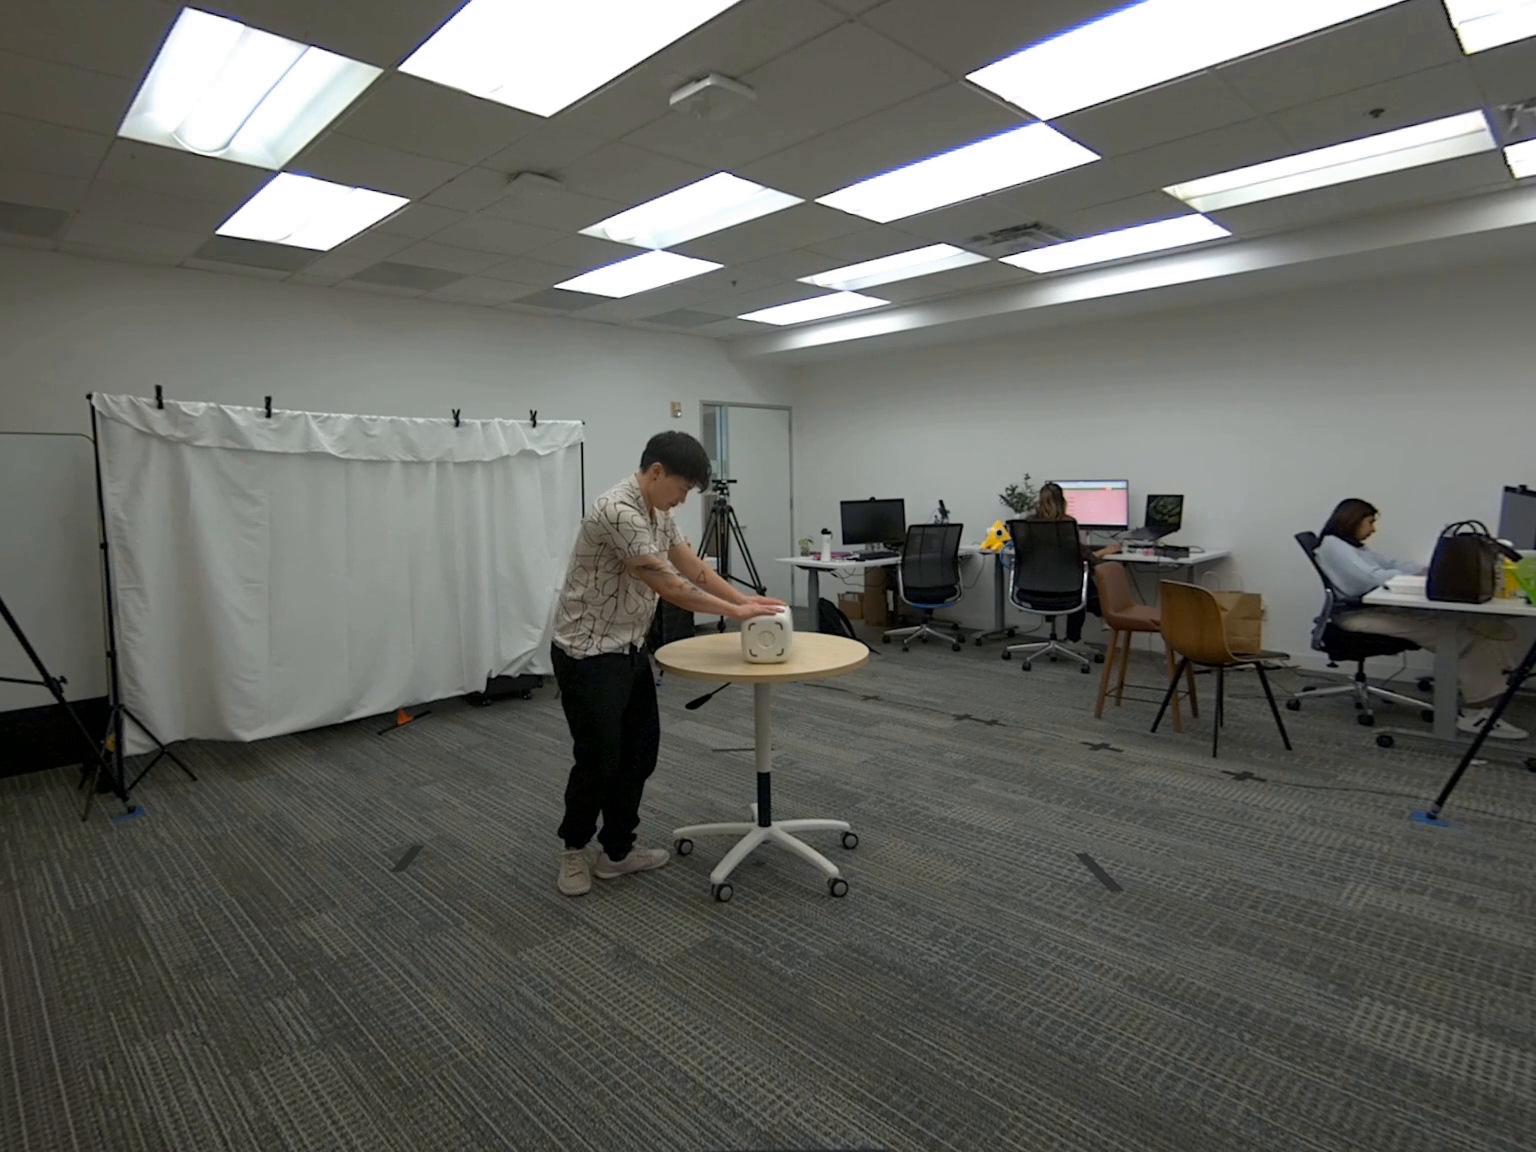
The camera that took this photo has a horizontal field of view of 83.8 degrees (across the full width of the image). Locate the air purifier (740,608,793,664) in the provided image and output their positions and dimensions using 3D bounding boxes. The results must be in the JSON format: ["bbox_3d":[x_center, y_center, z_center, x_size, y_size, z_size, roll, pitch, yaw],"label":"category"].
[{"bbox_3d":[-0.005,0.192,2.956,0.172,0.171,0.265,-1,7,4],"label":"air purifier"}]
